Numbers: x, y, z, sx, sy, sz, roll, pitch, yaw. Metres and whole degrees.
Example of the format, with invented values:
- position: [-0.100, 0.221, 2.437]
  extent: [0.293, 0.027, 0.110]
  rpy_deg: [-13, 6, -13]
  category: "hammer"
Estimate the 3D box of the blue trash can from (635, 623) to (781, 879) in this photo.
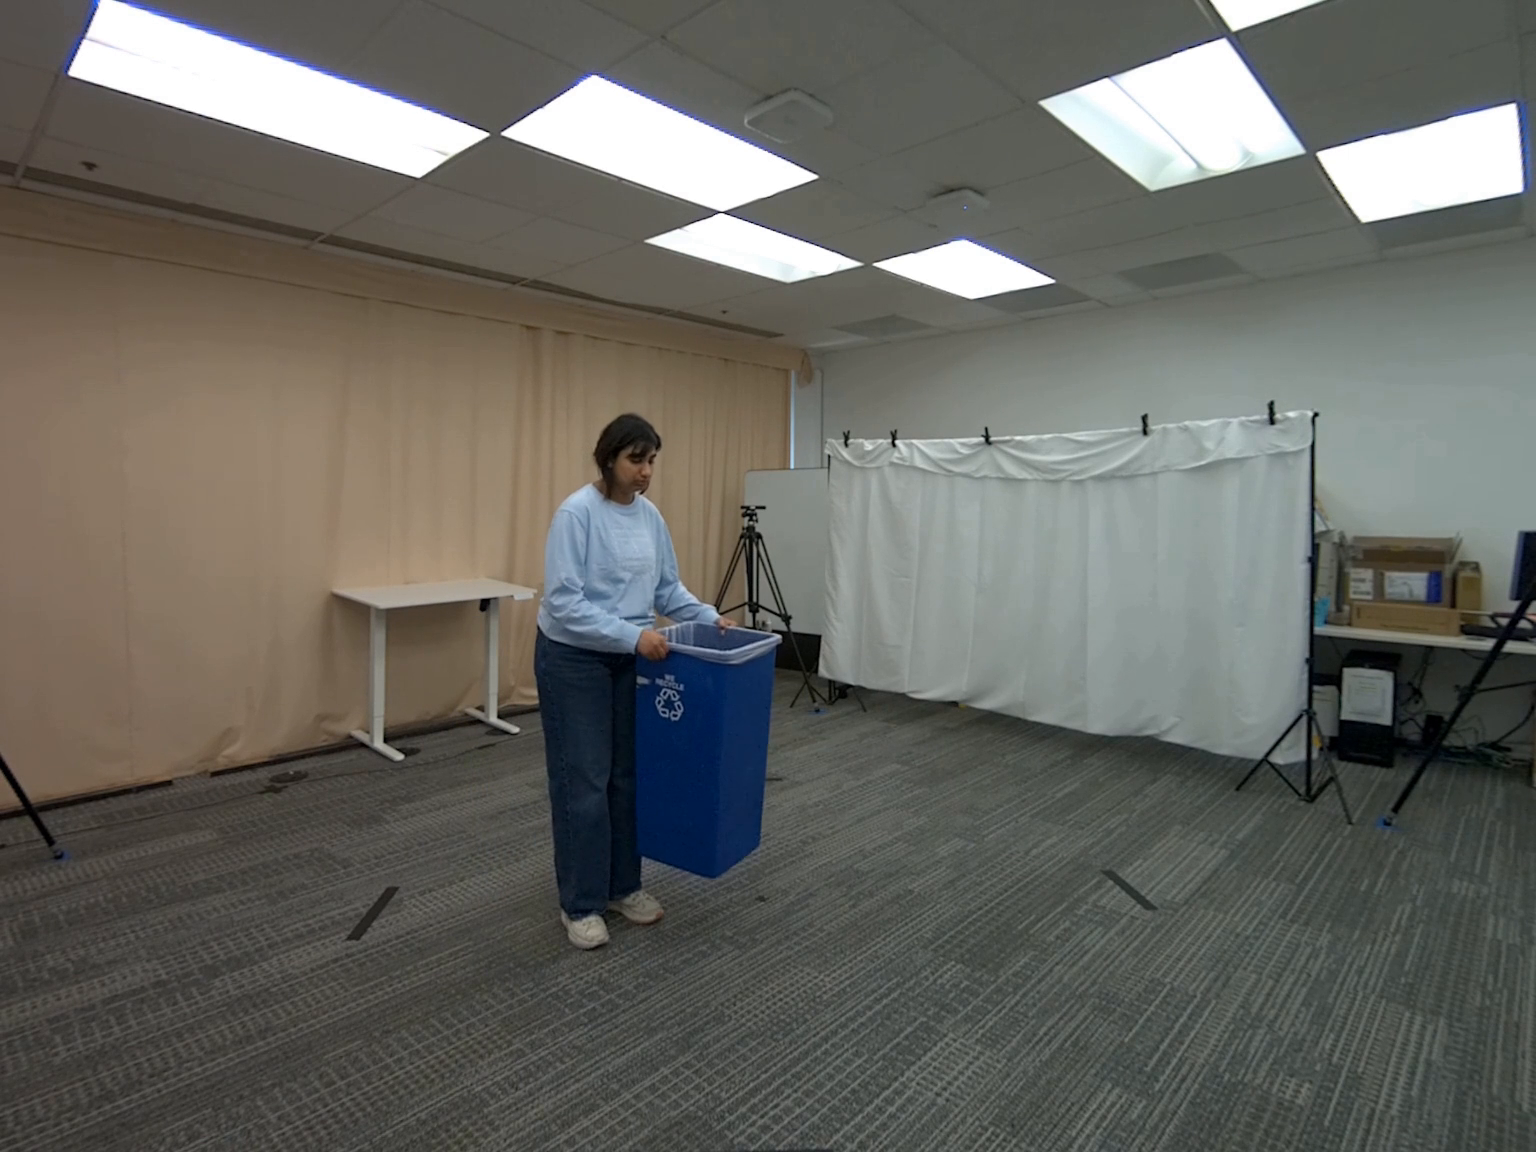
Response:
- position: [-0.200, 0.549, 2.713]
  extent: [0.385, 0.711, 0.368]
  rpy_deg: [5, 7, 31]
  category: "blue trash can"
